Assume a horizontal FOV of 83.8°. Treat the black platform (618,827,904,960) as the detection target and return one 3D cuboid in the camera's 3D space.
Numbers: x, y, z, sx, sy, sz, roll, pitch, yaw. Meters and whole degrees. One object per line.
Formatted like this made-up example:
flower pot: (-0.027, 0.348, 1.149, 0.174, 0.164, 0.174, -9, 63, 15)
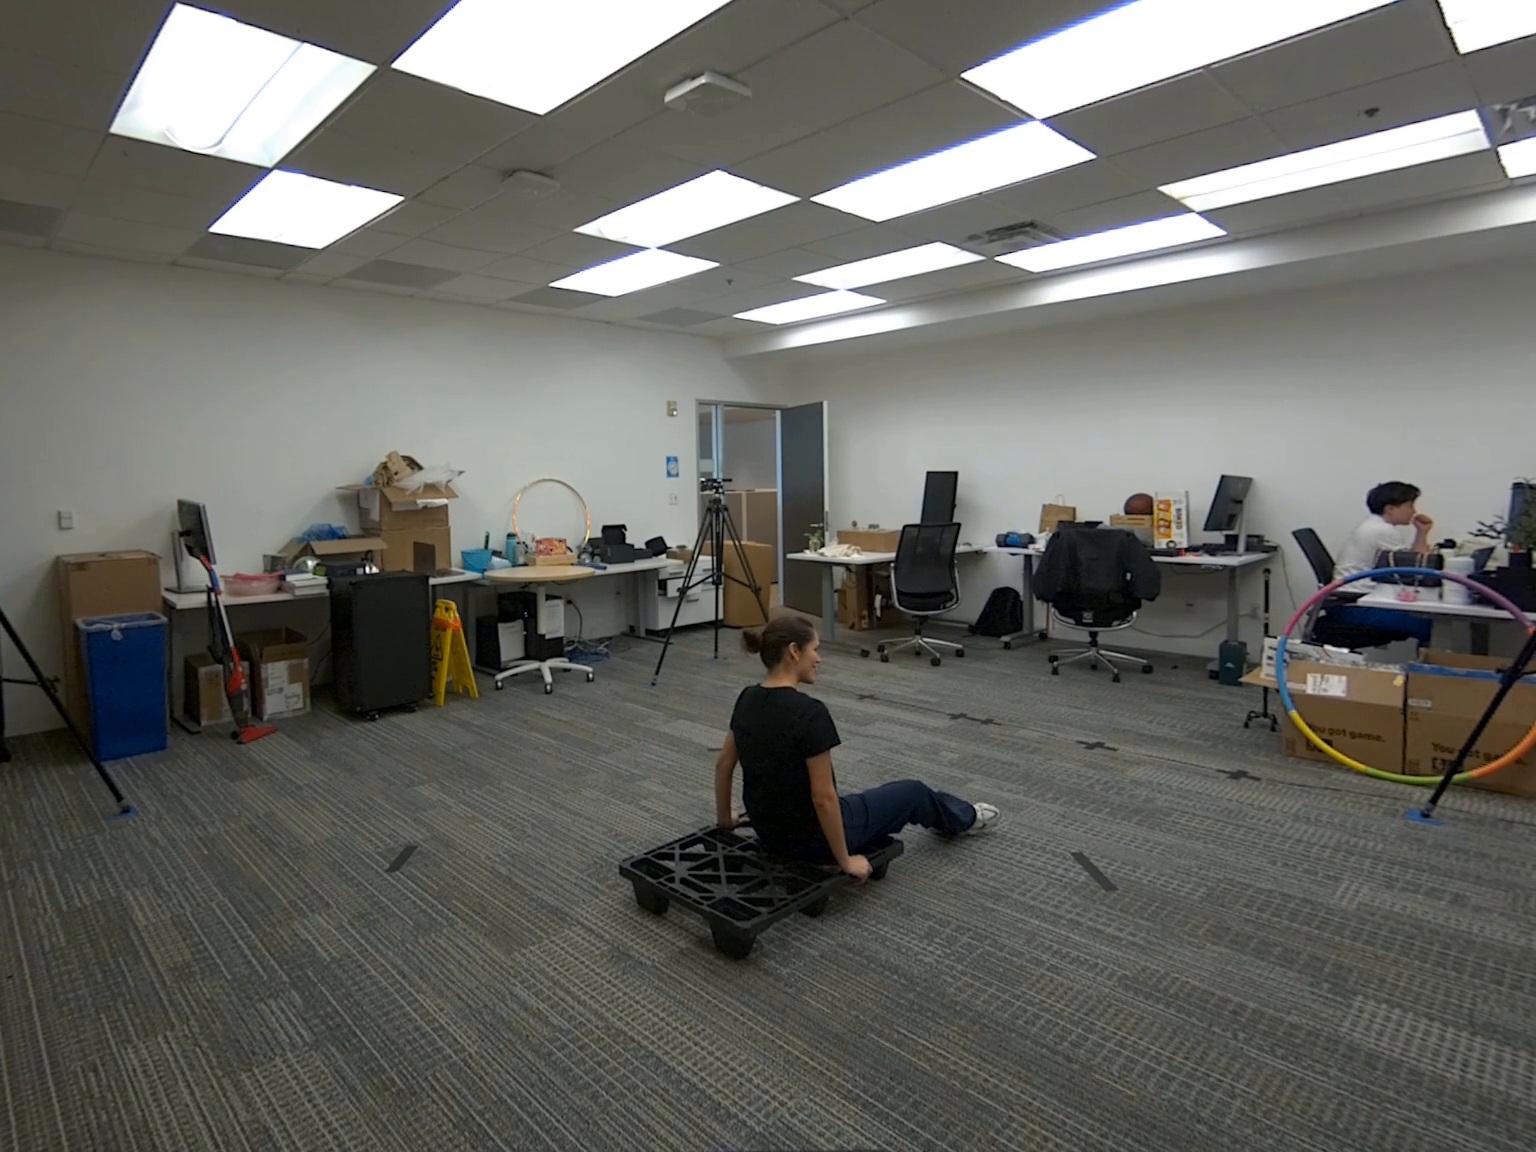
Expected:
black platform: (-0.009, 1.002, 2.903, 0.624, 0.142, 0.784, 6, 9, 44)
